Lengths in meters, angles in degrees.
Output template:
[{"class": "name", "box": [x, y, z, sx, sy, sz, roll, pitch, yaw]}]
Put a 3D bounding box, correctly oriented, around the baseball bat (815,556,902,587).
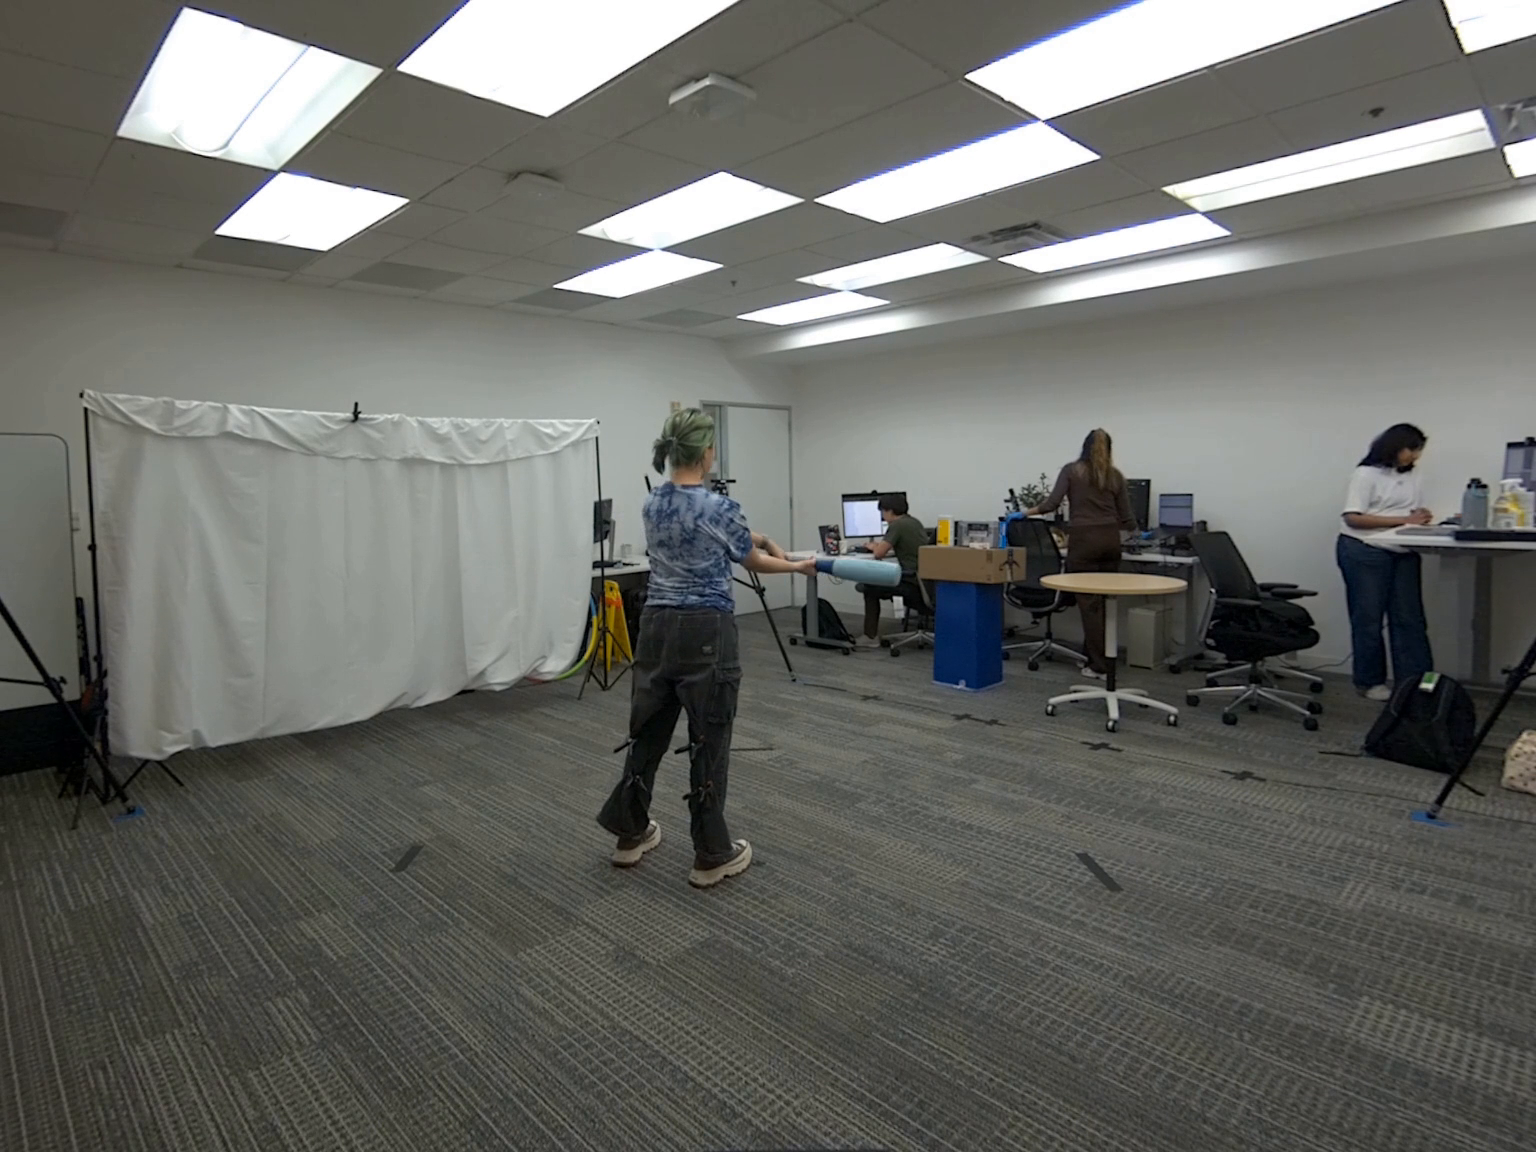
[{"class": "baseball bat", "box": [0.223, -0.032, 3.290, 0.557, 0.088, 0.087, 6, 7, 26]}]
